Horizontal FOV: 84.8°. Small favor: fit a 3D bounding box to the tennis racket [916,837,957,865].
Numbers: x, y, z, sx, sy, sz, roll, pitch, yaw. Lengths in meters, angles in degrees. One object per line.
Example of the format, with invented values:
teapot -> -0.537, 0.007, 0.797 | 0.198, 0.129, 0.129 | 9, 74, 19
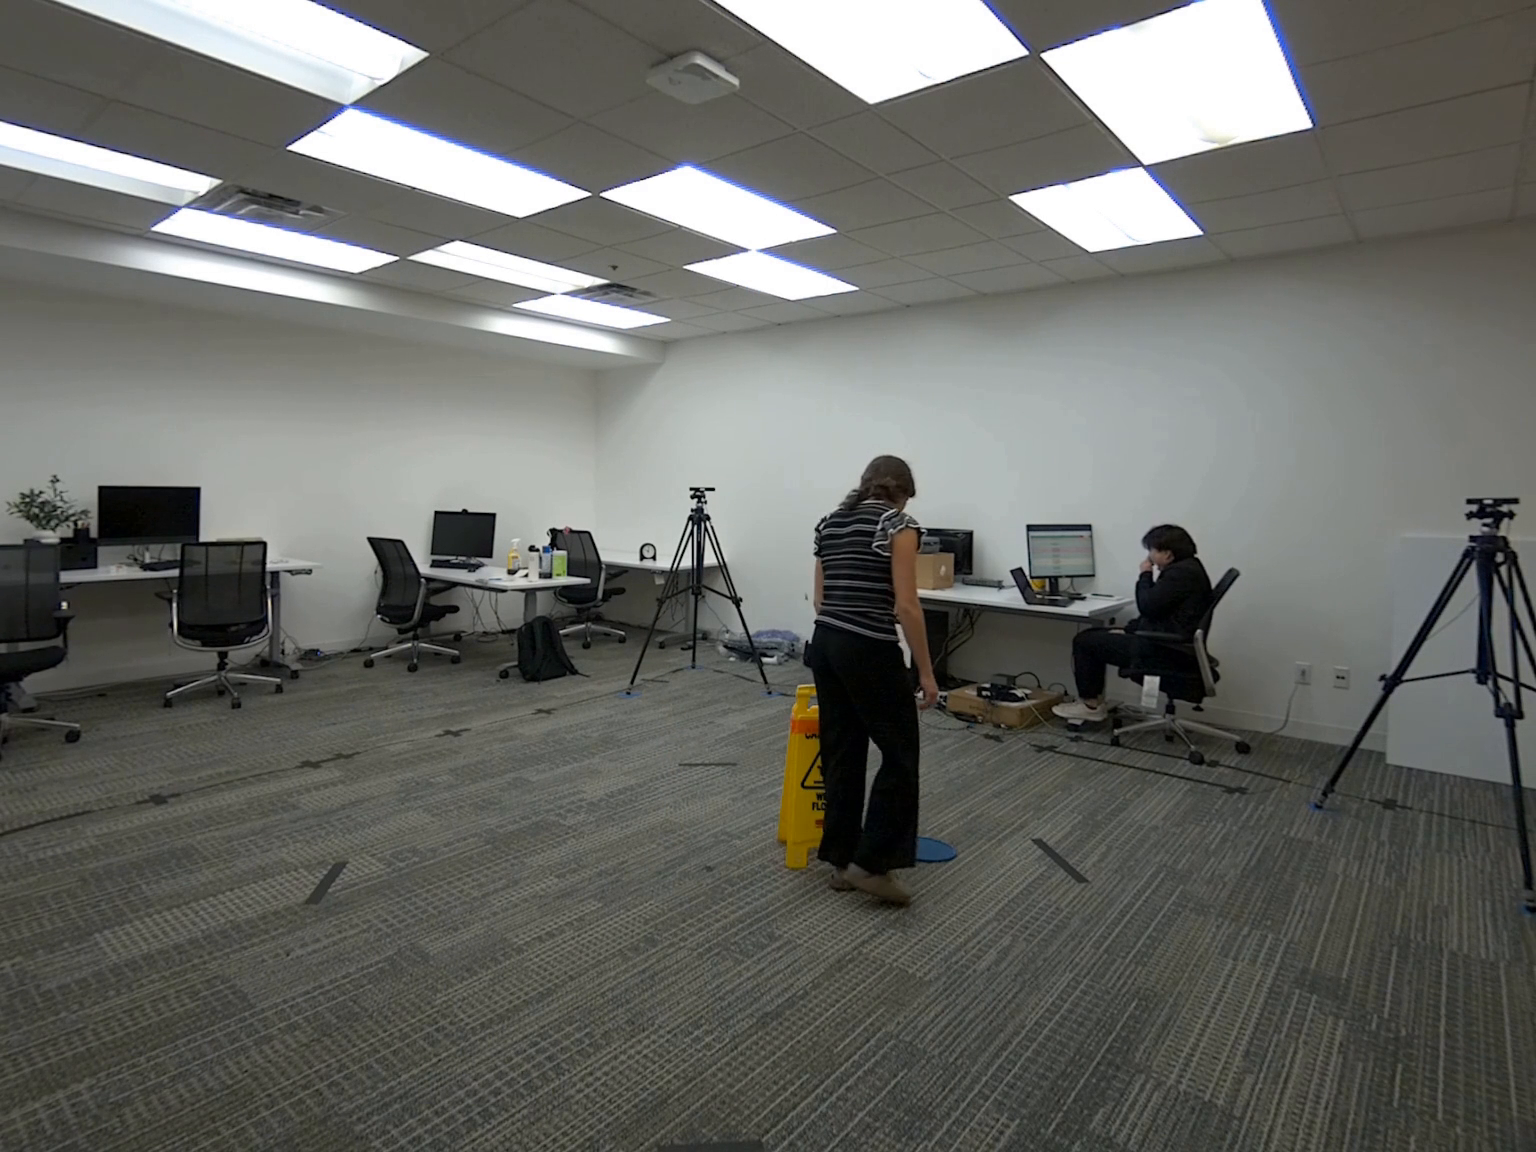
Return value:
tennis racket -> 0.499, 1.045, 3.318 | 0.435, 0.031, 0.213 | 3, 5, 4
